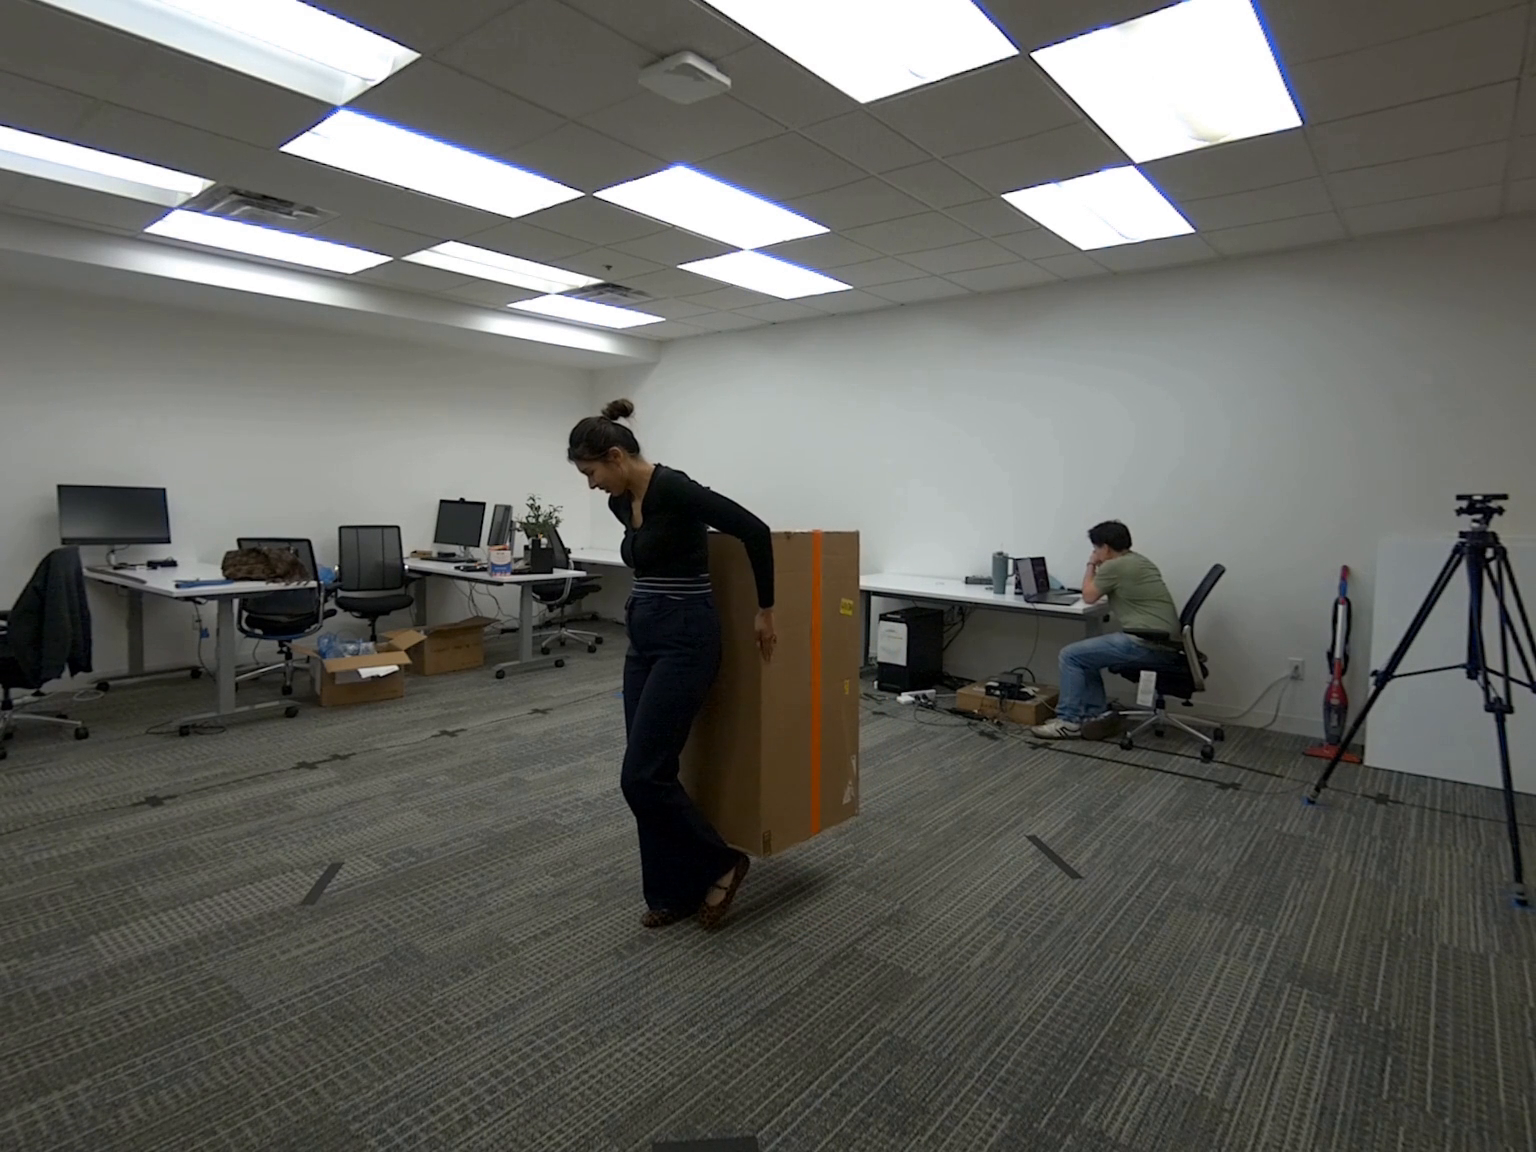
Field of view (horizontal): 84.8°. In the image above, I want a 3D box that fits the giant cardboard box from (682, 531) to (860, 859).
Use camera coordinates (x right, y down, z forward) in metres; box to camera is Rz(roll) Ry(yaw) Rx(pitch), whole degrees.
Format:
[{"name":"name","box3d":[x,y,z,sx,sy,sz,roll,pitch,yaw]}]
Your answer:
[{"name":"giant cardboard box","box3d":[-0.009,0.360,2.984,0.440,1.026,0.559,0,0,39]}]
